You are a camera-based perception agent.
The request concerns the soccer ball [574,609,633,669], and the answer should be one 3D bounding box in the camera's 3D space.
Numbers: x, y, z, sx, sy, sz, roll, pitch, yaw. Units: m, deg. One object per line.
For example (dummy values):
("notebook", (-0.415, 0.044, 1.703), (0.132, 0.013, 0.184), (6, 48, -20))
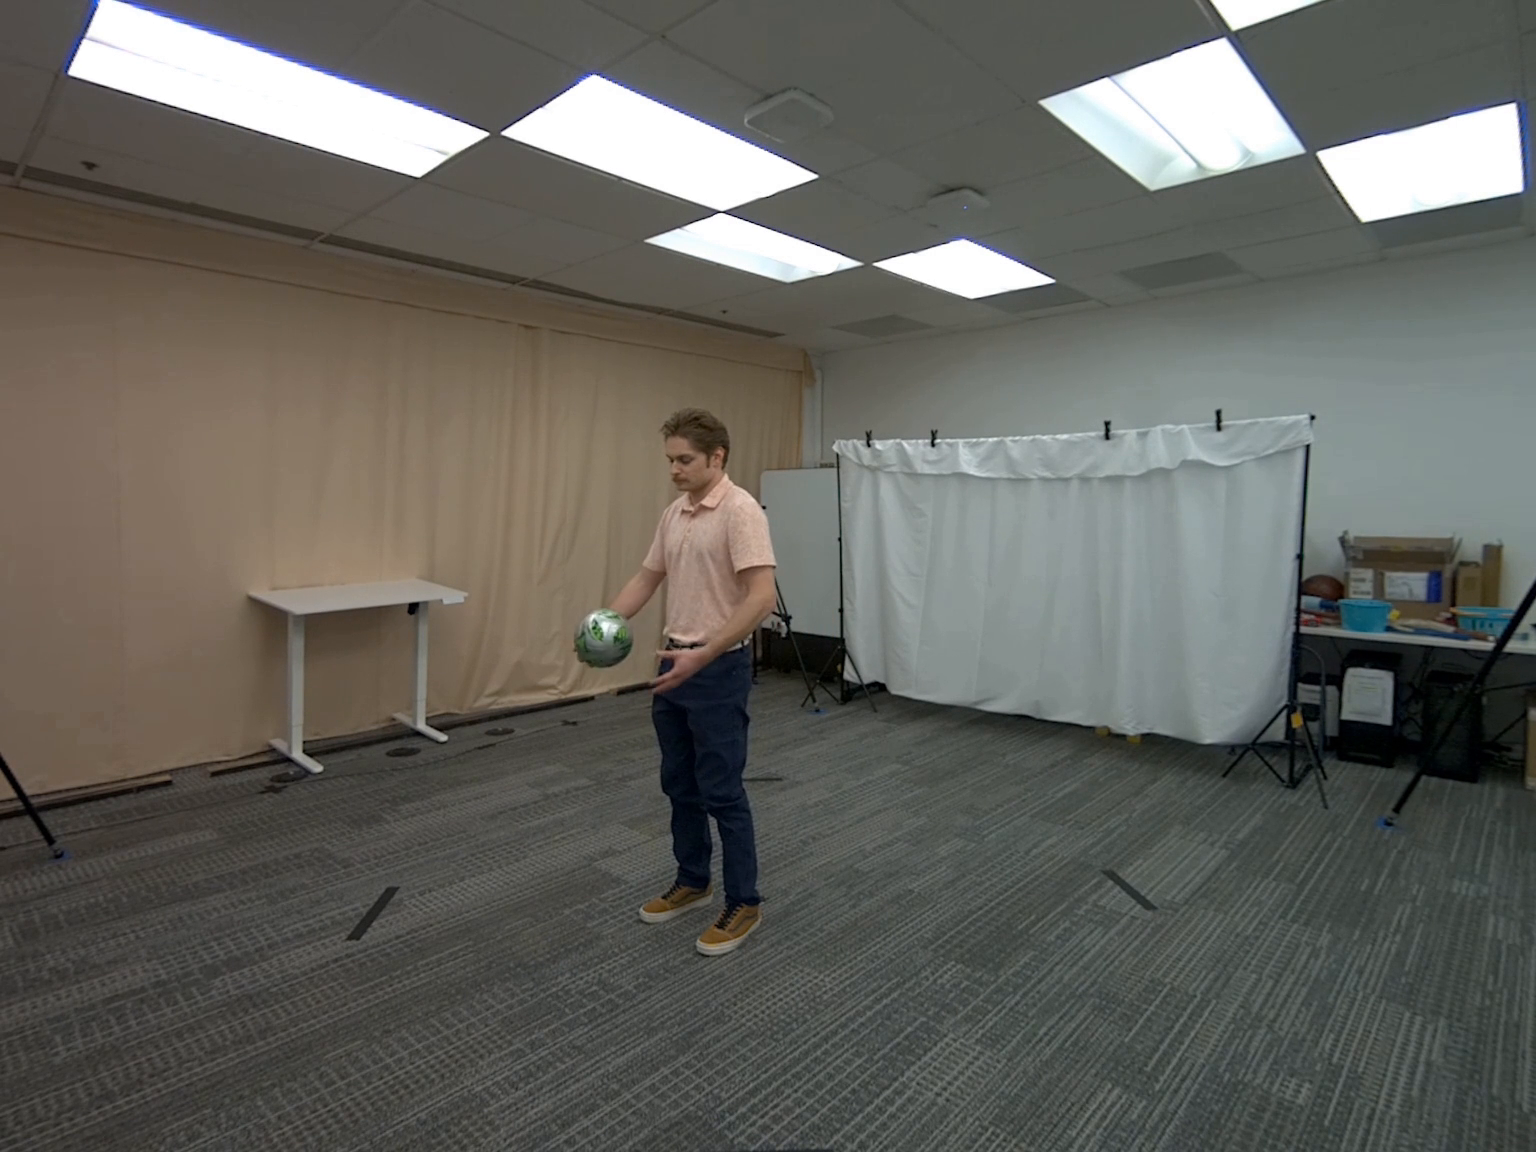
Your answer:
("soccer ball", (-0.511, 0.207, 2.695), (0.187, 0.187, 0.188), (0, 4, -2))
